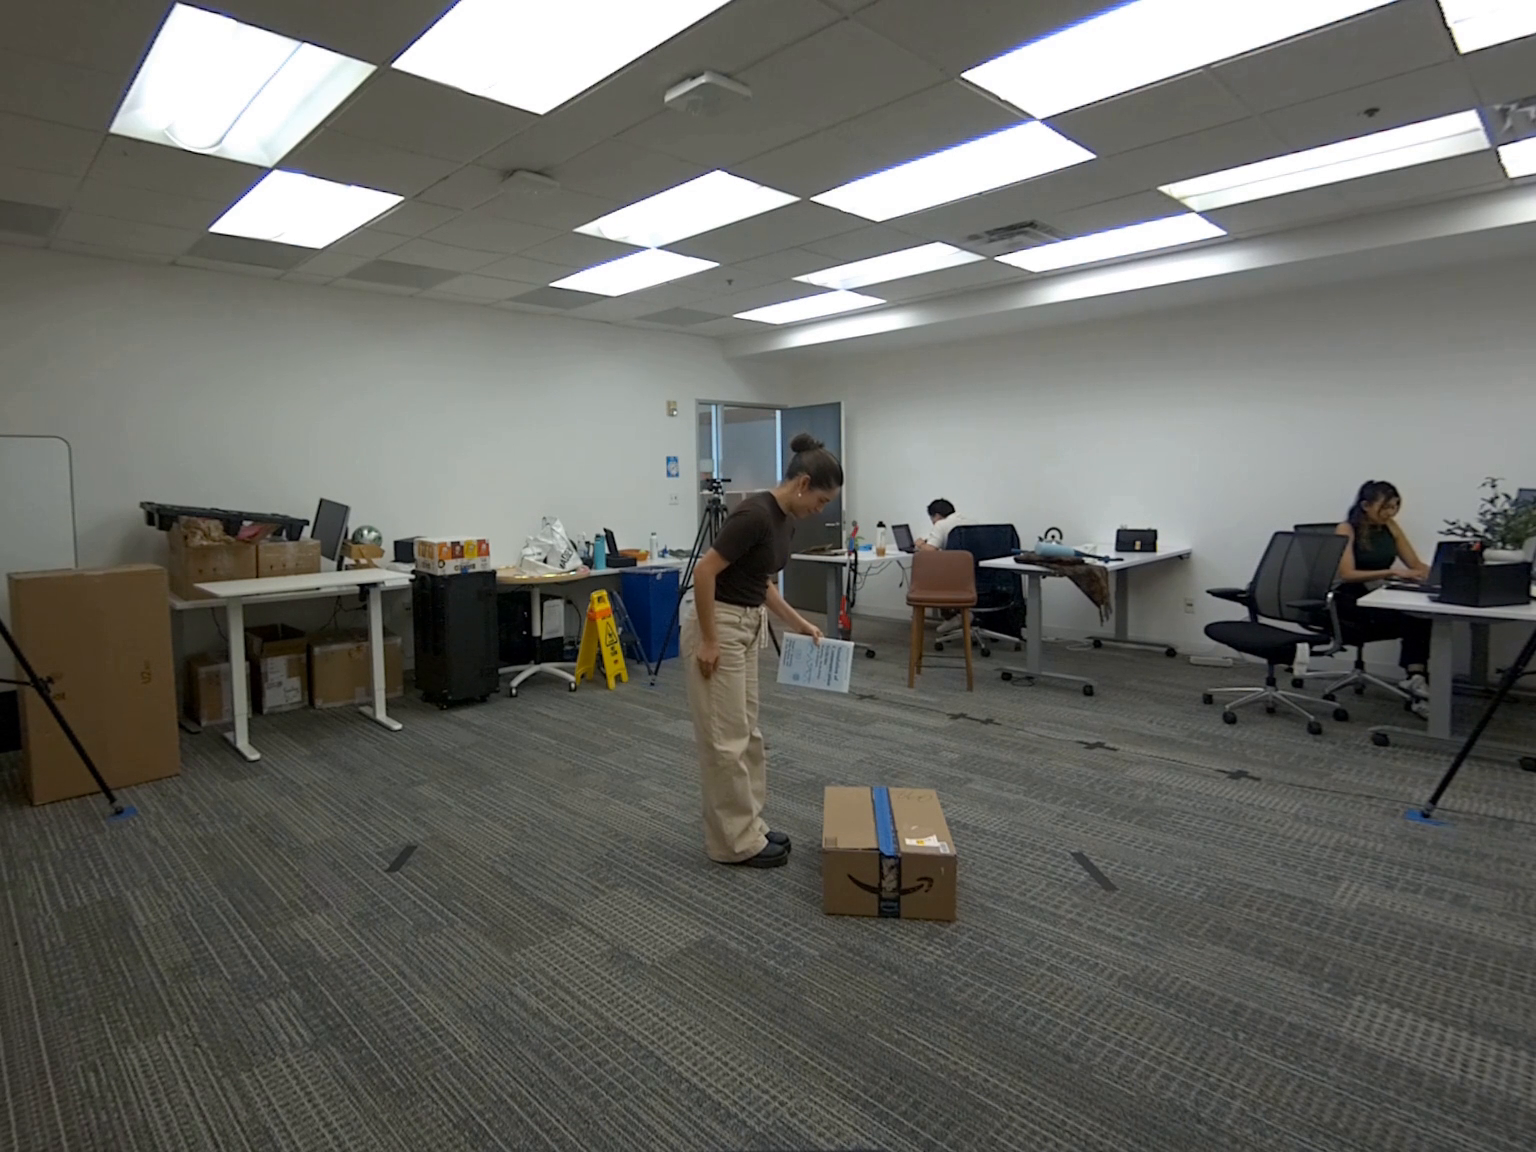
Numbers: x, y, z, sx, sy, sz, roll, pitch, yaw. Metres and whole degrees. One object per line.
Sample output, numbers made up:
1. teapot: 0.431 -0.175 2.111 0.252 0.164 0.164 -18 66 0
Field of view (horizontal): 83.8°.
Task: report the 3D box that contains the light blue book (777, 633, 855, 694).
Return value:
1. light blue book: 0.171 0.327 3.163 0.263 0.193 0.058 4 -10 7
